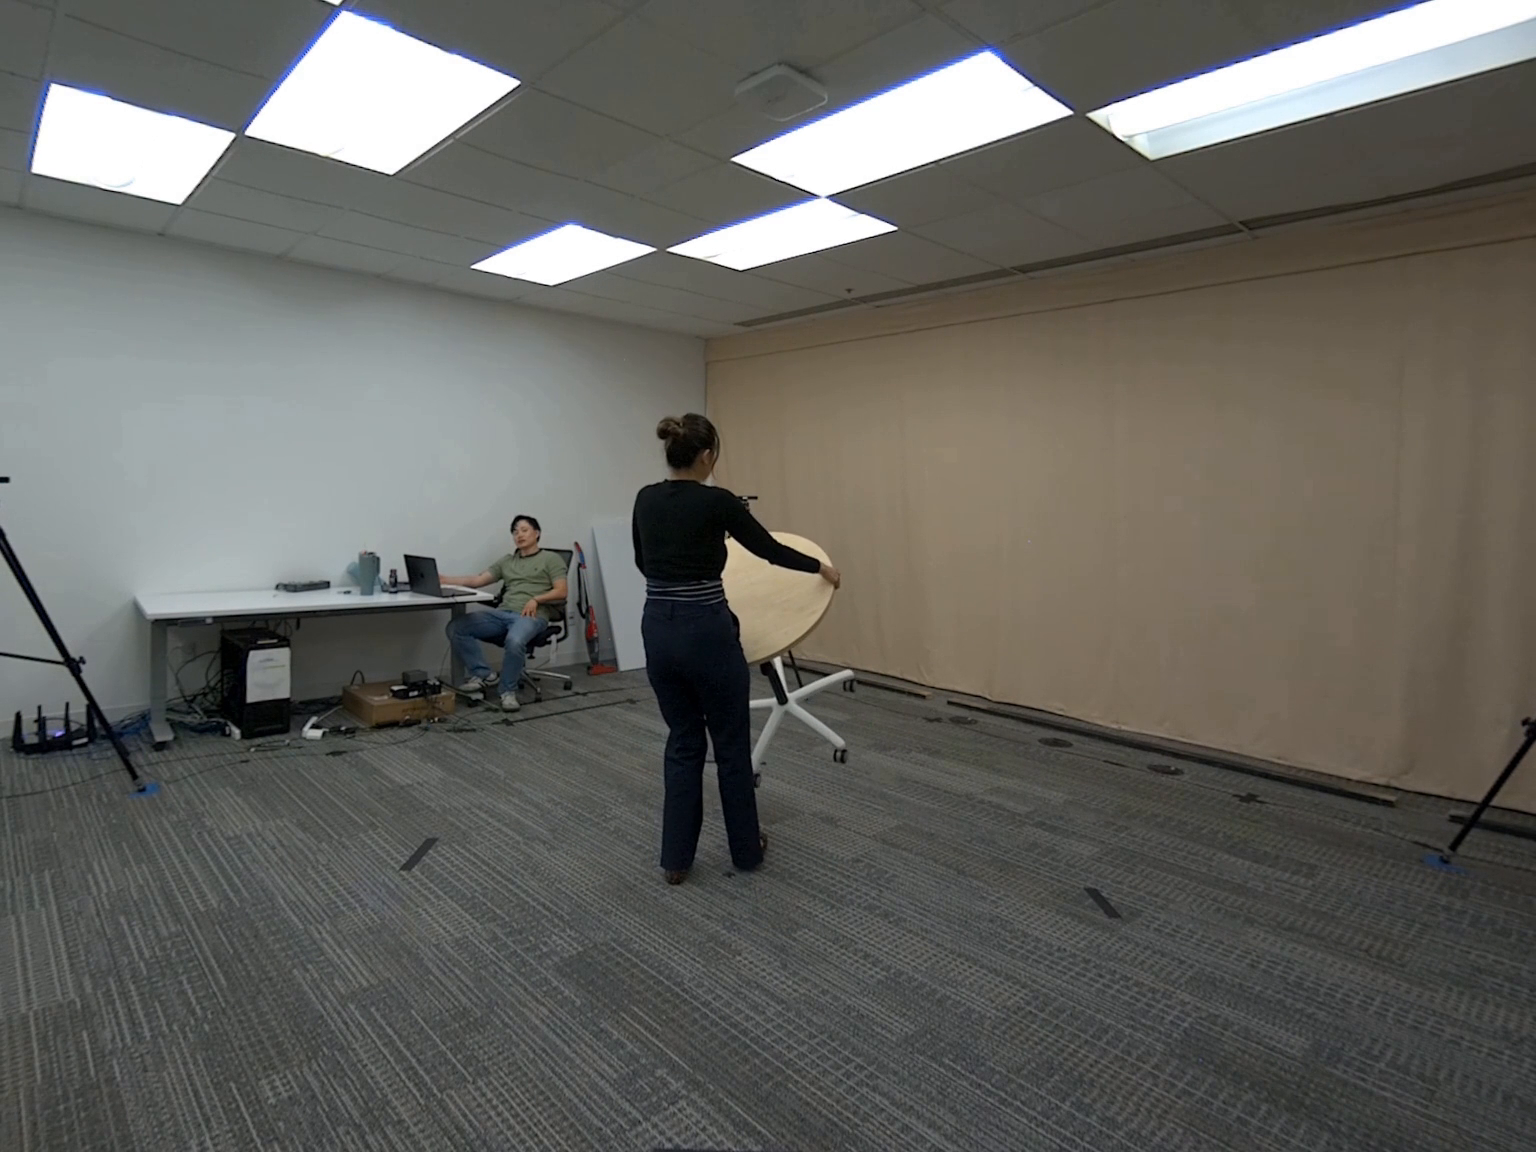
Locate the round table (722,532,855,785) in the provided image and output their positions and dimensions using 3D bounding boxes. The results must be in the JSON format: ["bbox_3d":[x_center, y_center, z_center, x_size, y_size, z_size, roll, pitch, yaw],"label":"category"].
[{"bbox_3d":[-0.011,0.369,3.593,0.768,0.772,0.781,-13,38,9],"label":"round table"}]
